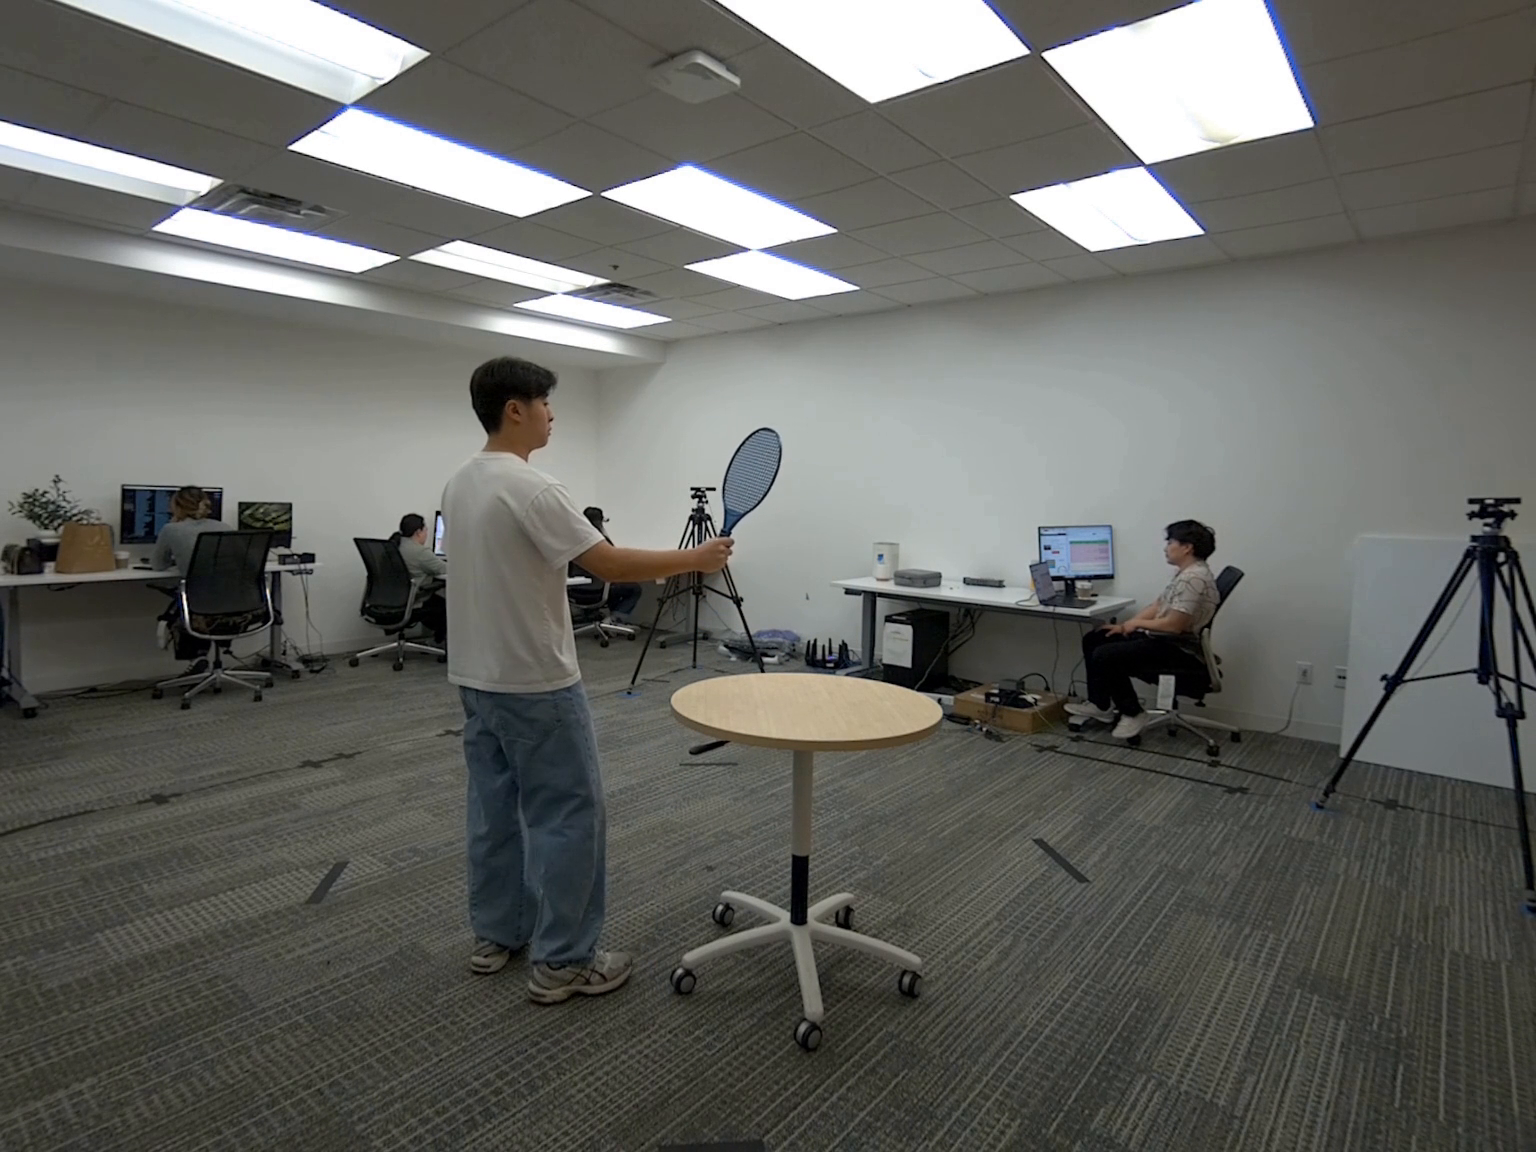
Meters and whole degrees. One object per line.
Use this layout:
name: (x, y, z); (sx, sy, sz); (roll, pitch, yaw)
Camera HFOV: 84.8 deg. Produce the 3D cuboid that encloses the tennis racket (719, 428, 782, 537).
tennis racket: (-0.087, -0.220, 2.406); (0.030, 0.433, 0.222); (23, 0, -42)
